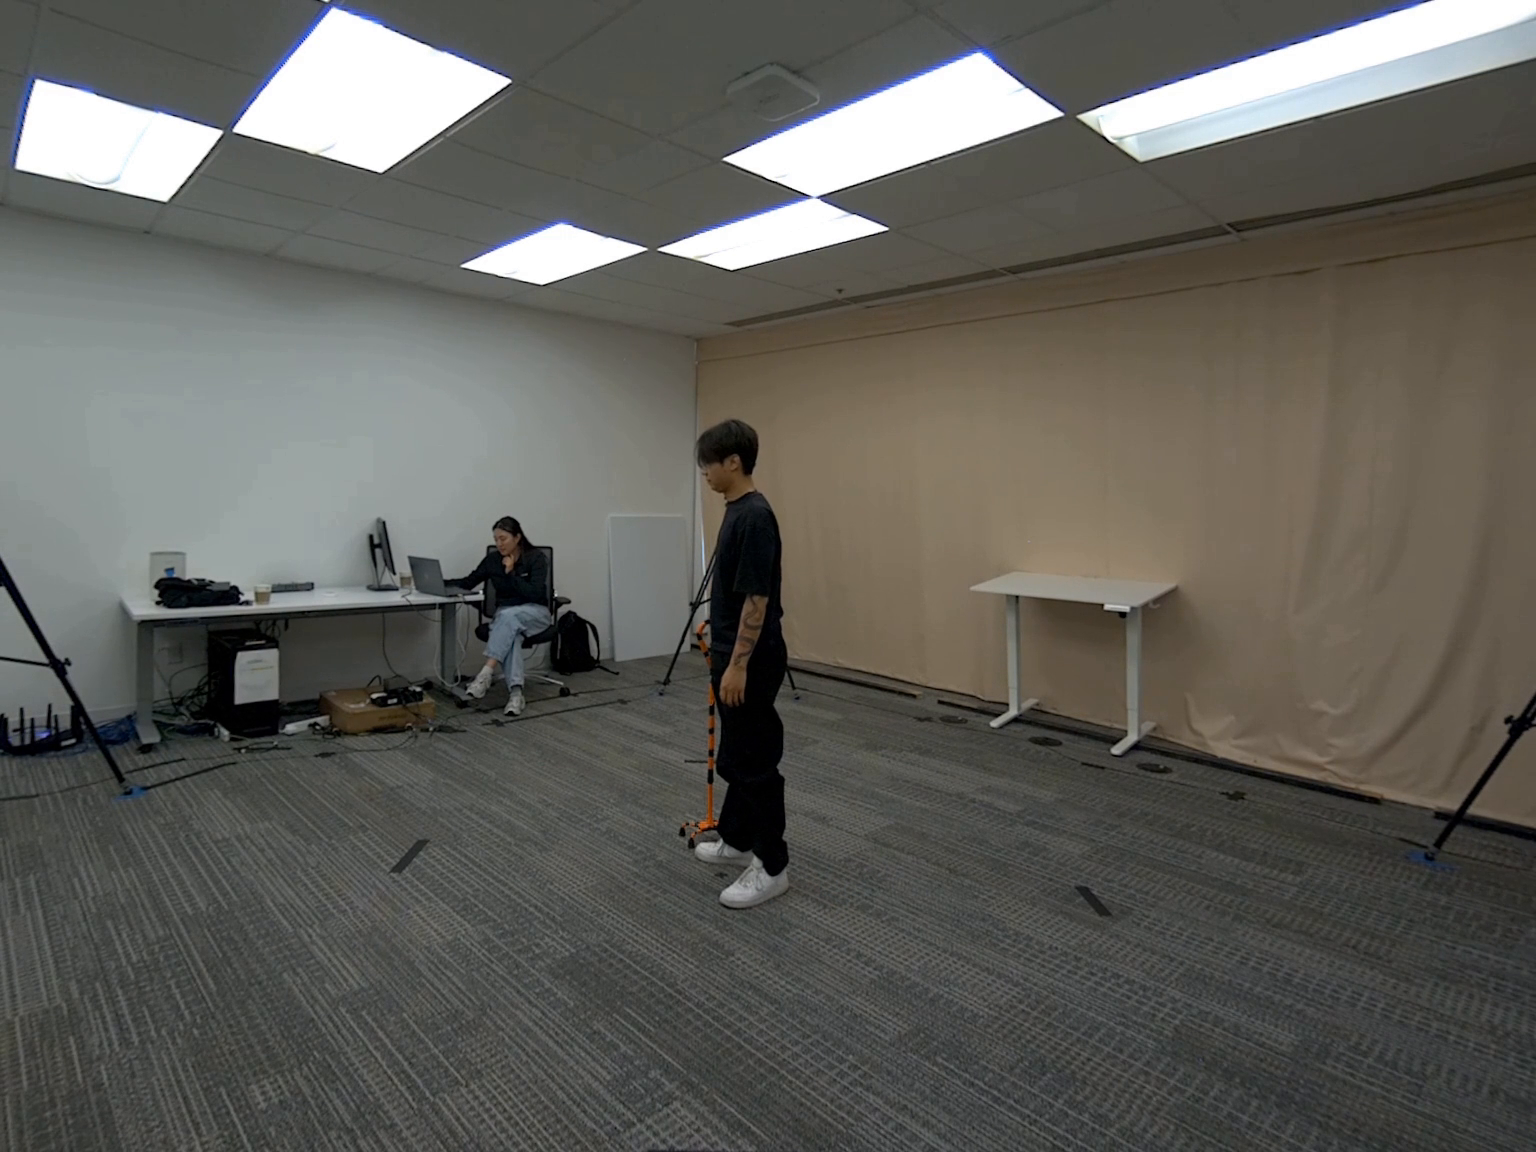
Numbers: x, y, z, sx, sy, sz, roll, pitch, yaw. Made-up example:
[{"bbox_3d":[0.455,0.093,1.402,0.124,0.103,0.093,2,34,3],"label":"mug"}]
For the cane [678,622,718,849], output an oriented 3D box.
[{"bbox_3d":[-0.250,0.618,3.408,0.203,0.906,0.154,-1,3,-25],"label":"cane"}]
